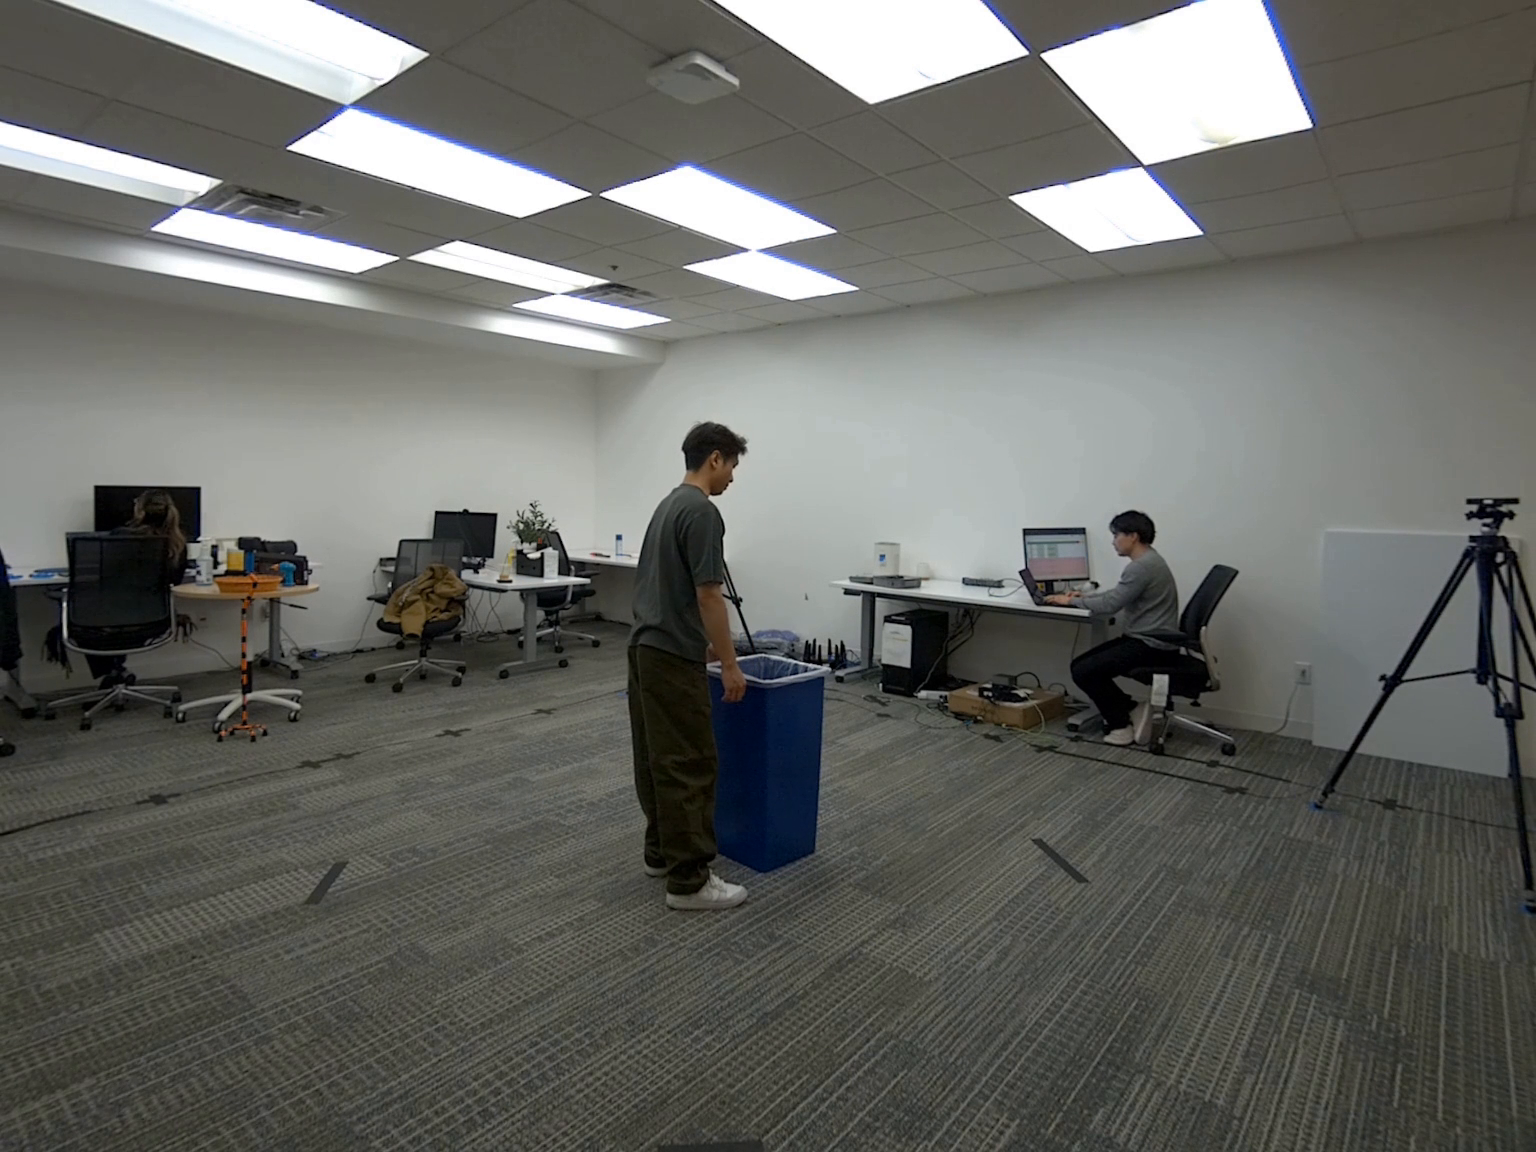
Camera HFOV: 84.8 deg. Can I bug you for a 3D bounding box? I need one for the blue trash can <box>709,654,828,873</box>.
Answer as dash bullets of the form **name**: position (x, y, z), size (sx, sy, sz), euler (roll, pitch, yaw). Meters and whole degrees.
- **blue trash can**: position (-0.031, 0.696, 3.268), size (0.387, 0.711, 0.366), euler (5, 5, 43)
